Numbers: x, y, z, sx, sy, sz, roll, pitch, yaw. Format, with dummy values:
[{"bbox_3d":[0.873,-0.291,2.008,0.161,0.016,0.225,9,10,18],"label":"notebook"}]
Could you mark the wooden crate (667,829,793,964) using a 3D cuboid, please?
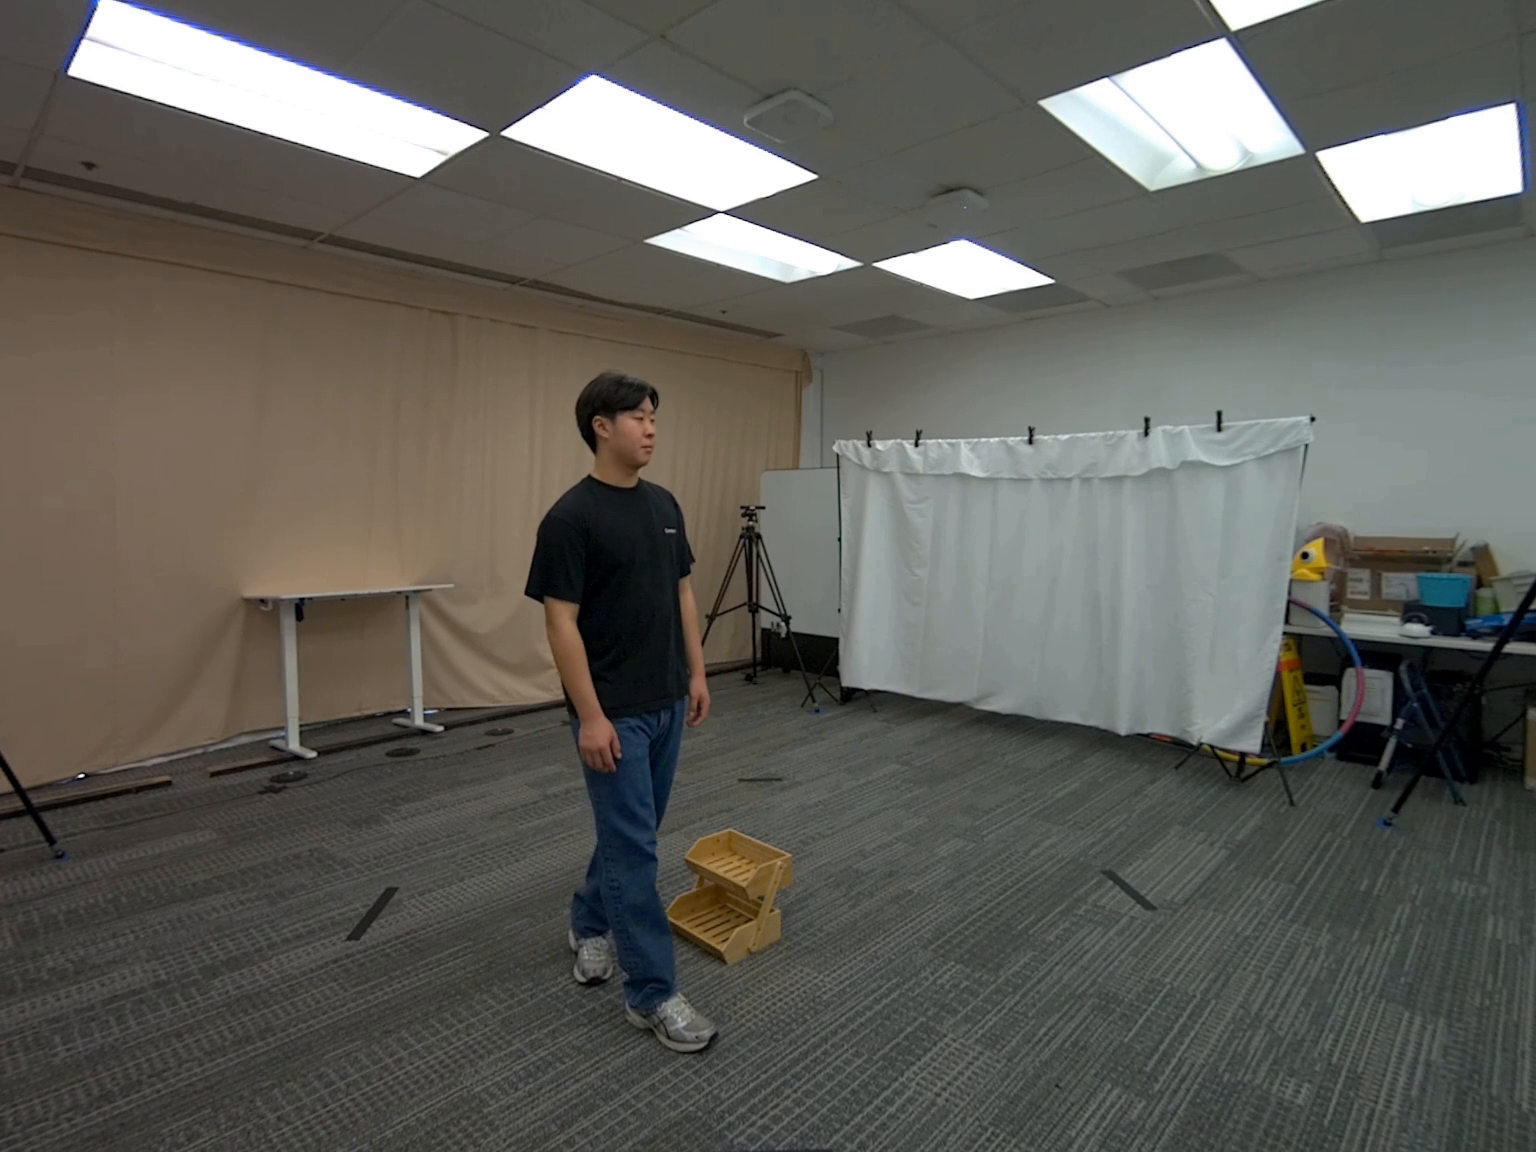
[{"bbox_3d":[-0.131,1.032,2.747,0.293,0.273,0.335,-3,5,-43],"label":"wooden crate"}]
